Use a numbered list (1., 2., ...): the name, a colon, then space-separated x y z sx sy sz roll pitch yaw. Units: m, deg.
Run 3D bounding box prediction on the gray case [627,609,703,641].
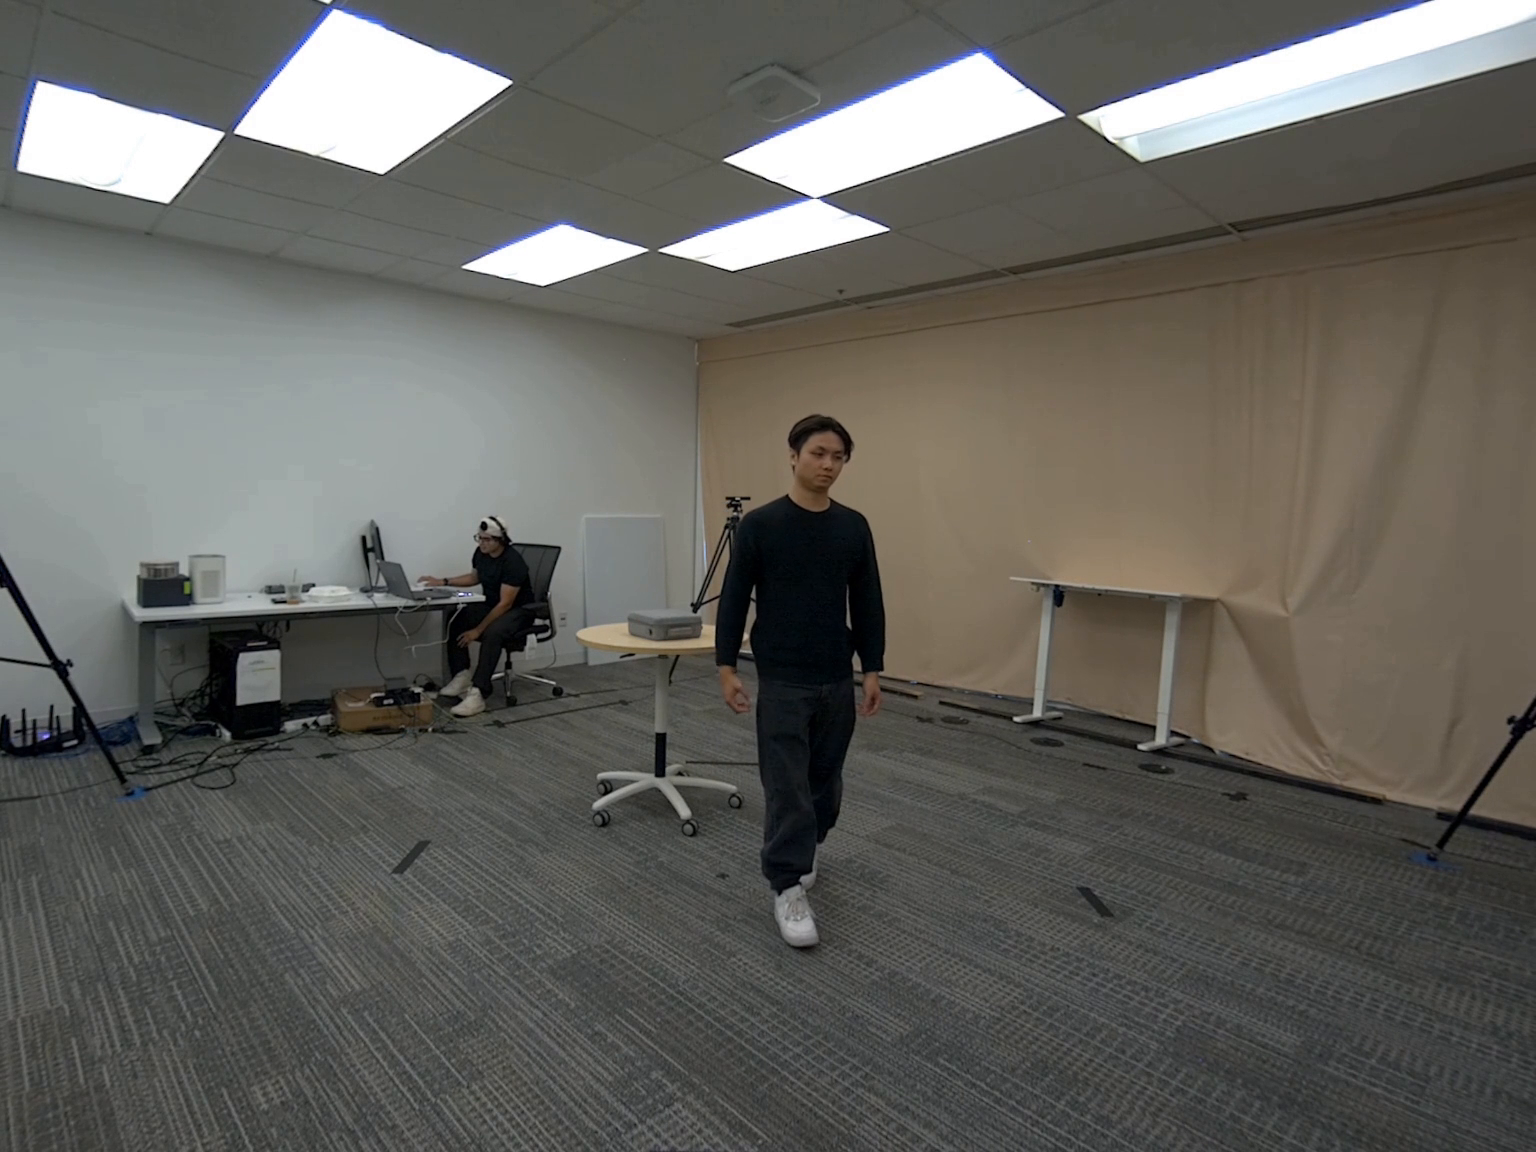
1. gray case: -0.459 0.210 3.695 0.251 0.104 0.267 0 5 -38
